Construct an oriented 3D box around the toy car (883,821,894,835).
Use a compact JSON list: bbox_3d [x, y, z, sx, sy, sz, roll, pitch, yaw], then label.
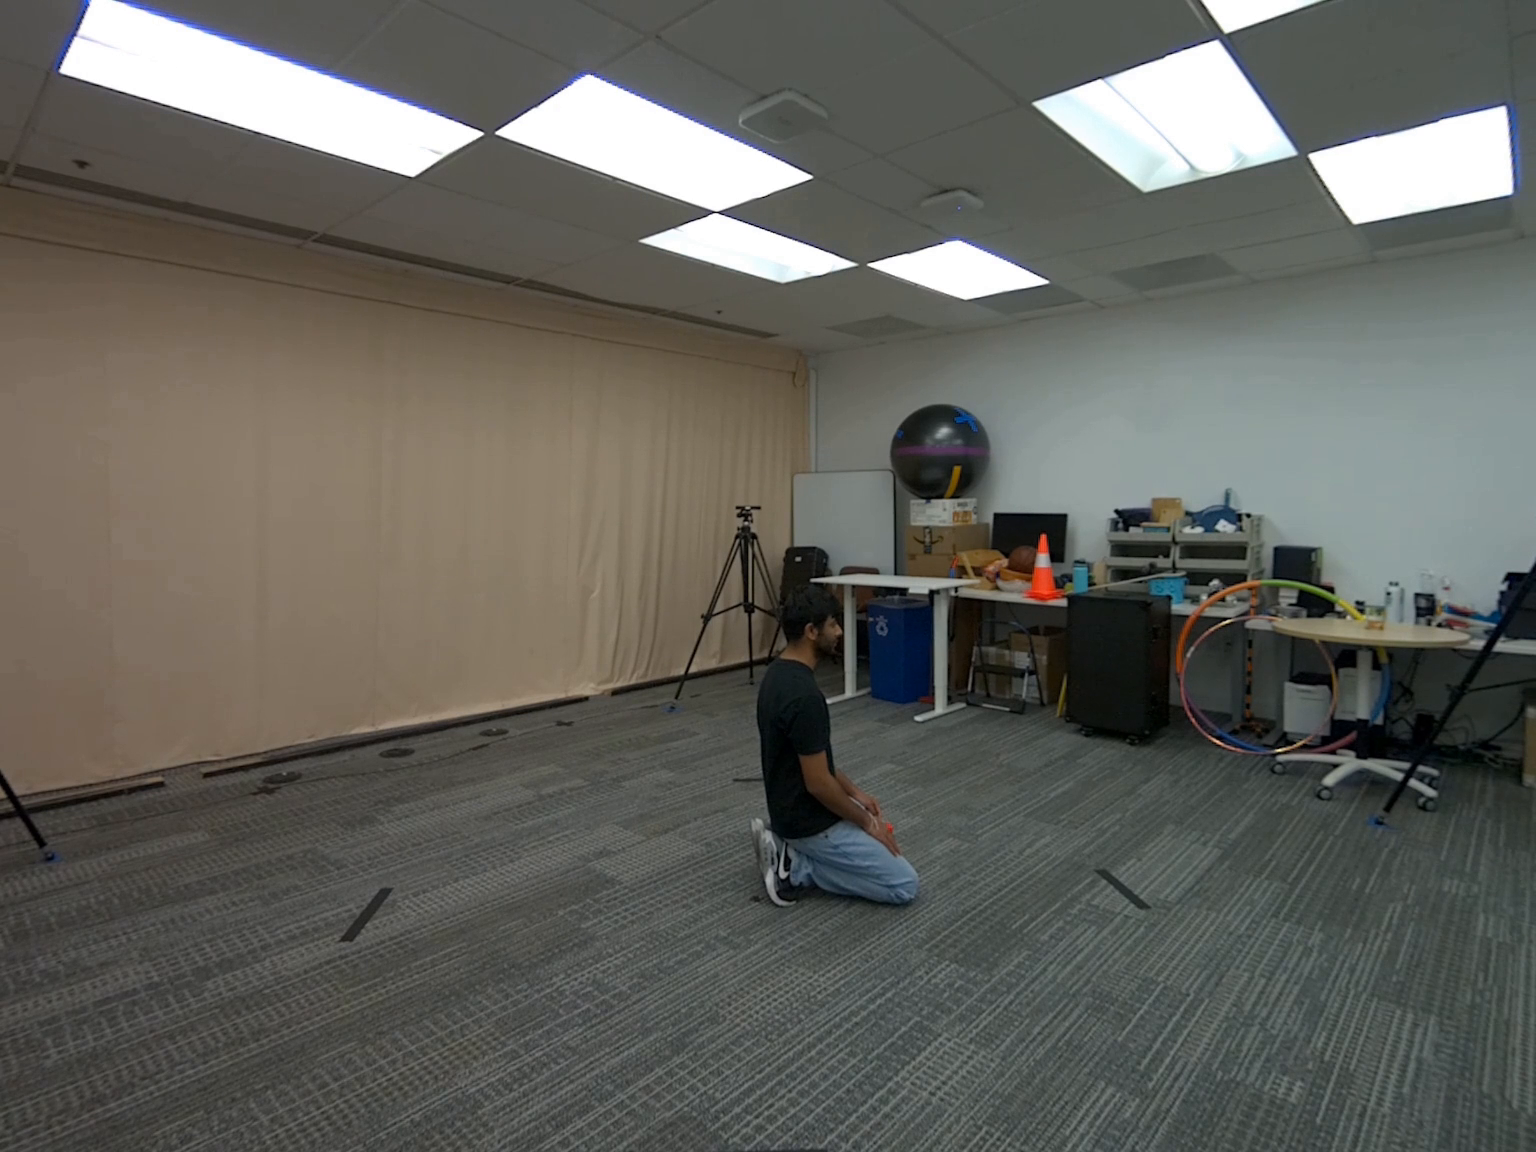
[{"bbox_3d":[0.411,1.055,3.607,0.126,0.083,0.264,-3,16,-43],"label":"toy car"}]
